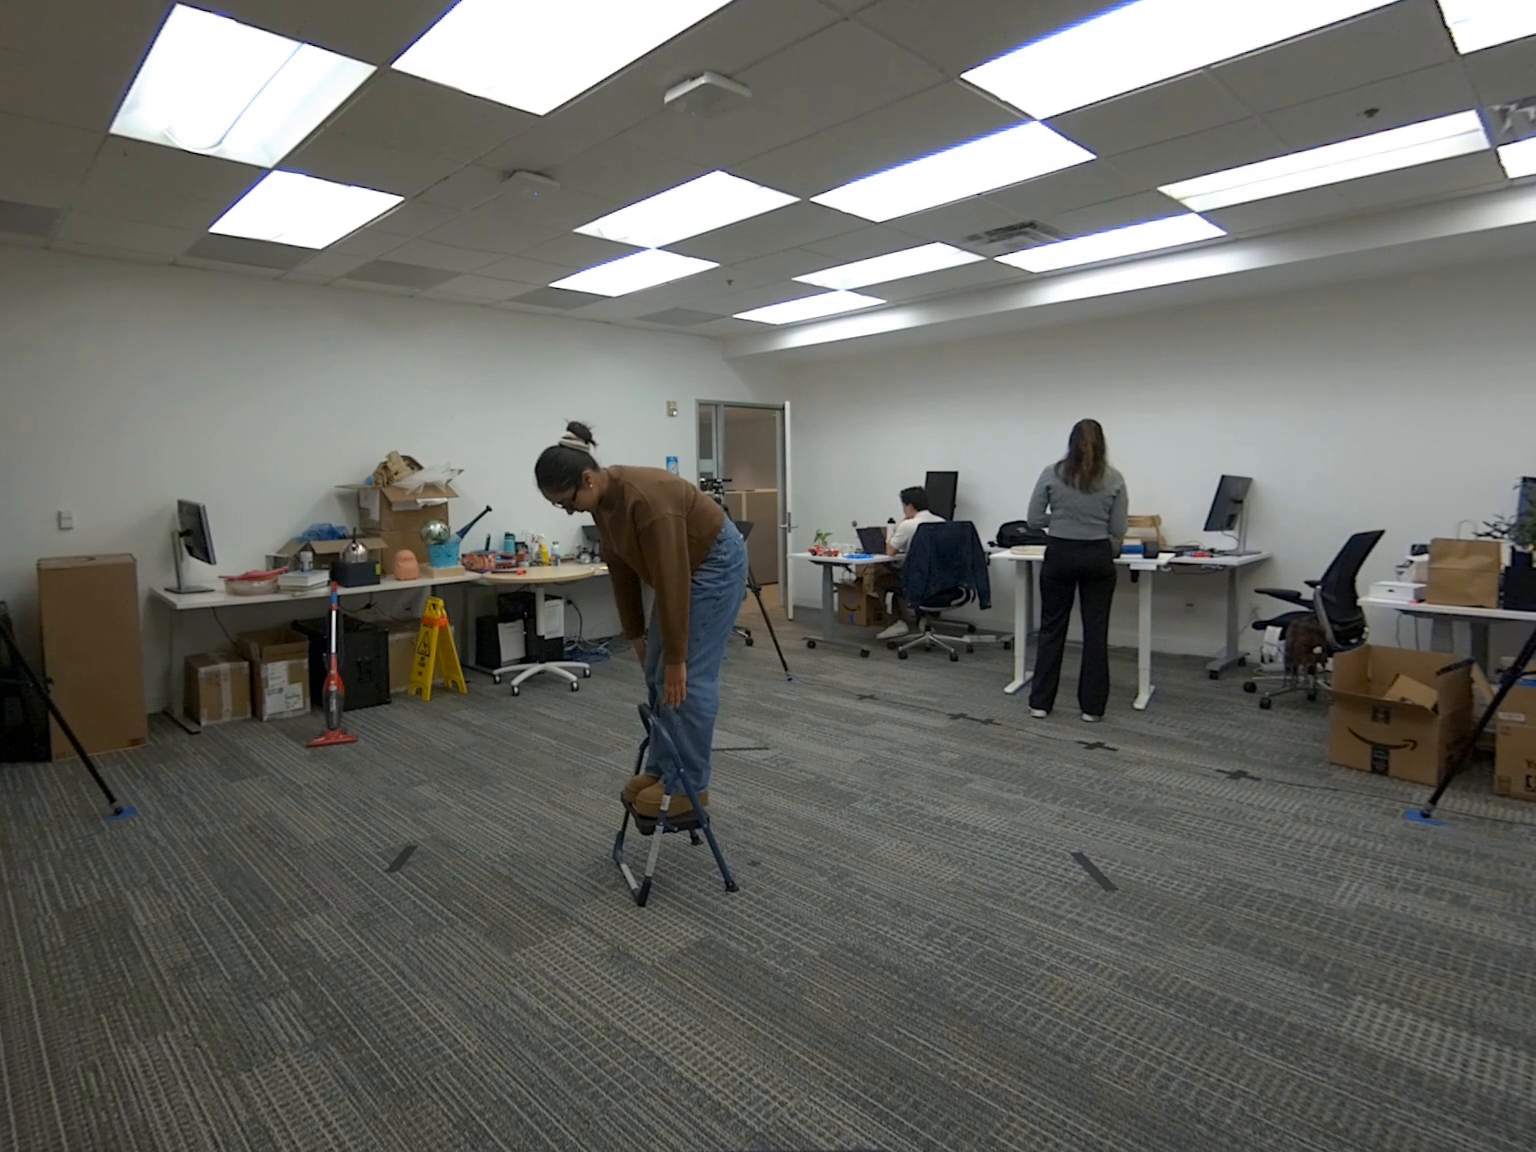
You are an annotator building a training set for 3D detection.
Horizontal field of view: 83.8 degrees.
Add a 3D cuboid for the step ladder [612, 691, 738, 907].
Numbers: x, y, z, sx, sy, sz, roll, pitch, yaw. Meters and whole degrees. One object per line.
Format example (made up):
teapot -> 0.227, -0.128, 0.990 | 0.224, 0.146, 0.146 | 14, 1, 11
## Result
step ladder -> -0.345, 0.760, 3.026 | 0.343, 0.604, 0.440 | -3, 5, -22
